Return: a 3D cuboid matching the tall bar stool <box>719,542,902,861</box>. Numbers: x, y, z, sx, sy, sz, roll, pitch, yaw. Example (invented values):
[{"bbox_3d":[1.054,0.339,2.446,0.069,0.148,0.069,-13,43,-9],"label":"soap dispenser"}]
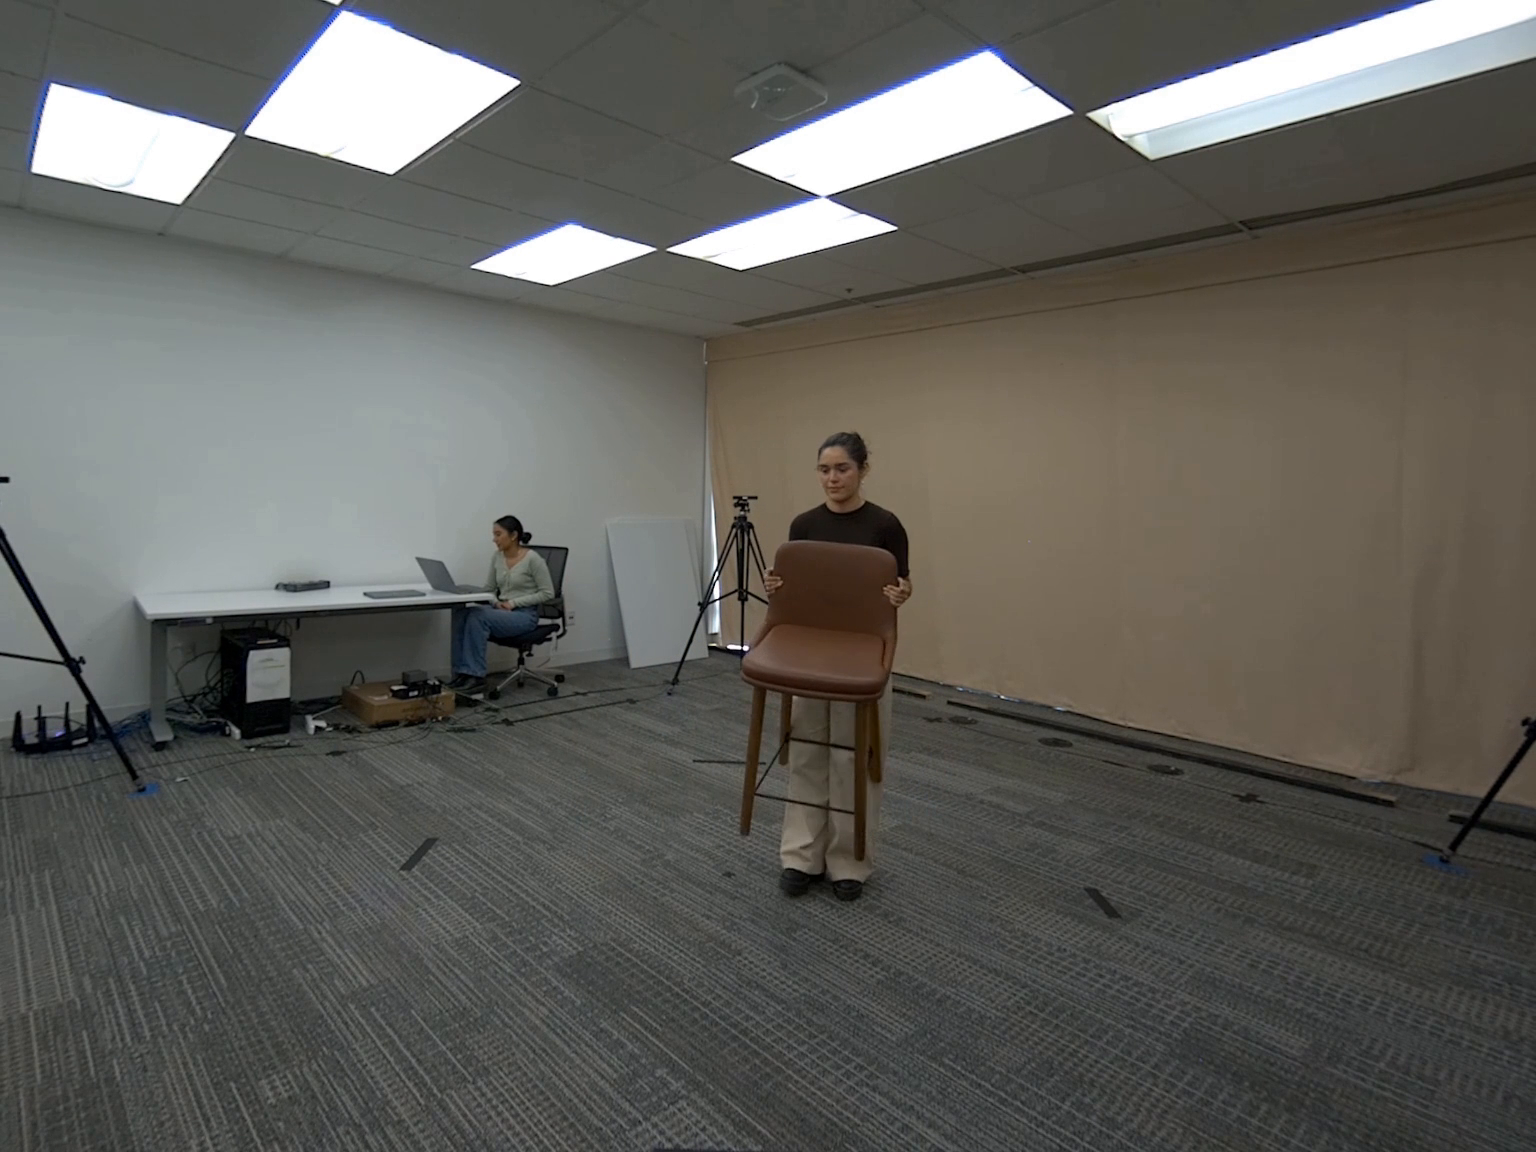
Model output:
[{"bbox_3d":[0.164,0.387,2.734,0.463,0.879,0.466,7,18,16],"label":"tall bar stool"}]
